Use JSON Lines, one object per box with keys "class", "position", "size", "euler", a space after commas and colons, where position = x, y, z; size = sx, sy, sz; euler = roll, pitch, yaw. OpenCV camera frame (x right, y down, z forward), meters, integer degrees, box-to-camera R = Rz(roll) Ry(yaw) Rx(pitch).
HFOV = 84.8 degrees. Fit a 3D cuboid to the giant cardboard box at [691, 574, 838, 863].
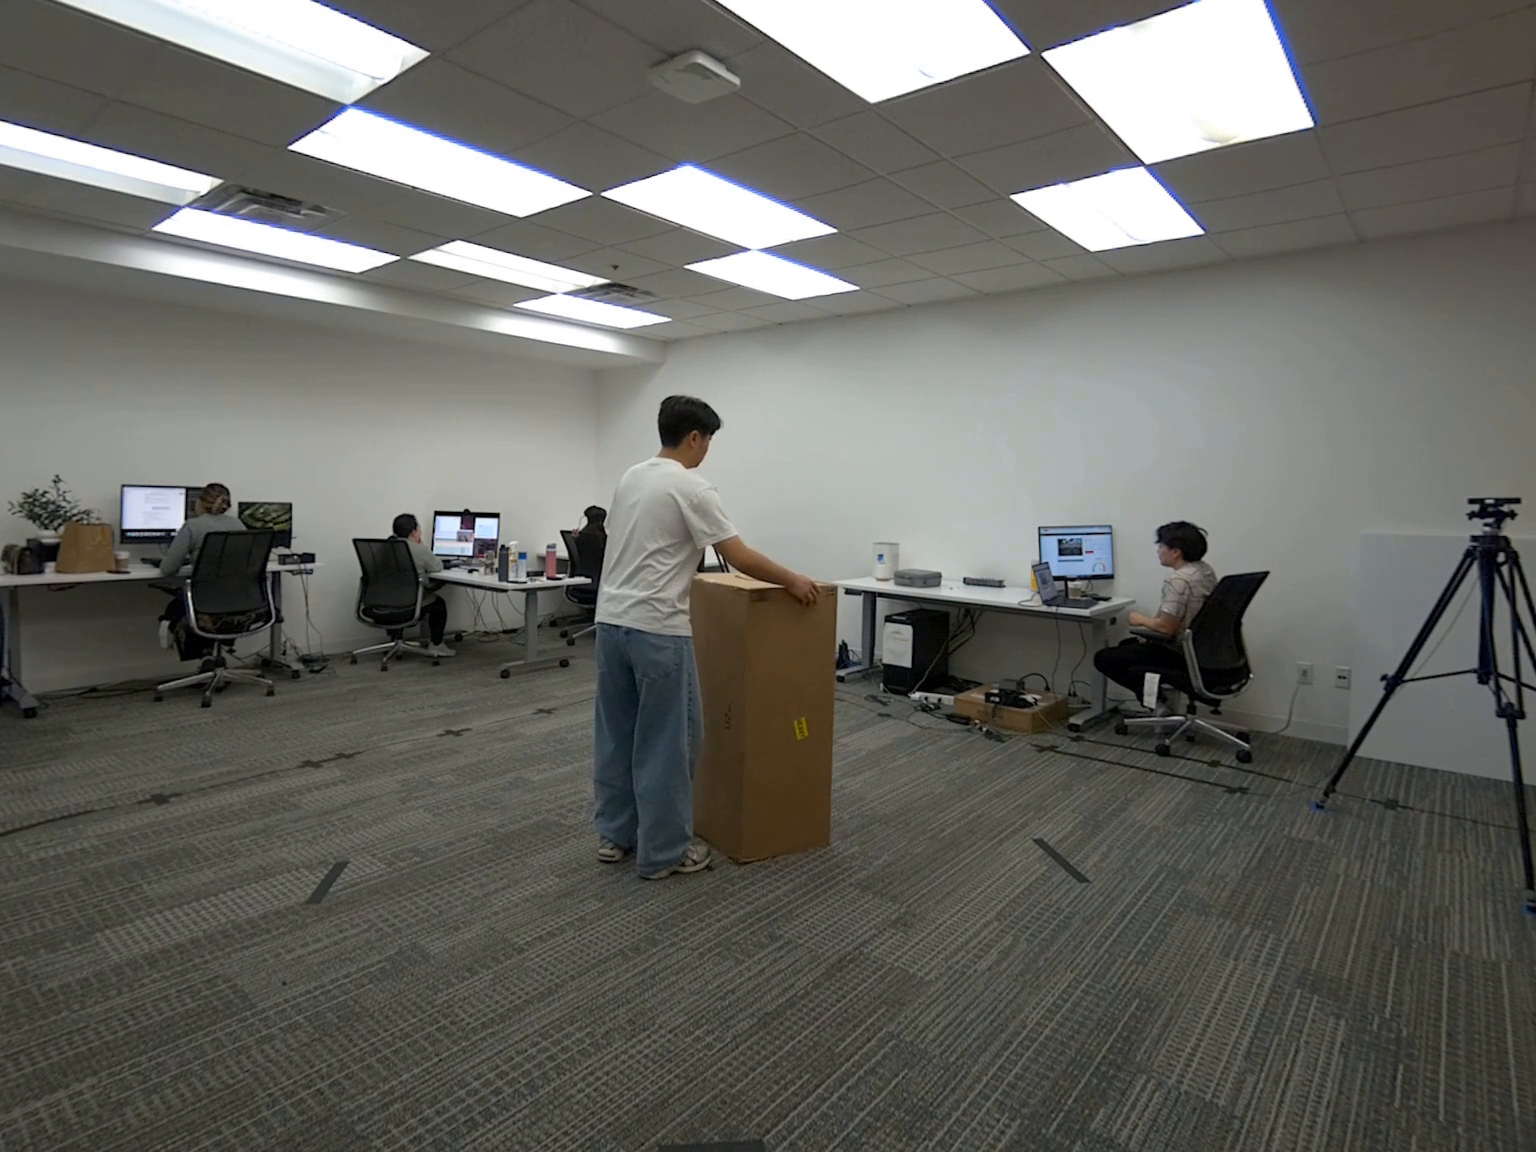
{"class": "giant cardboard box", "position": [-0.081, 0.523, 3.473], "size": [0.414, 1.023, 0.596], "euler": [0, 4, -33]}
